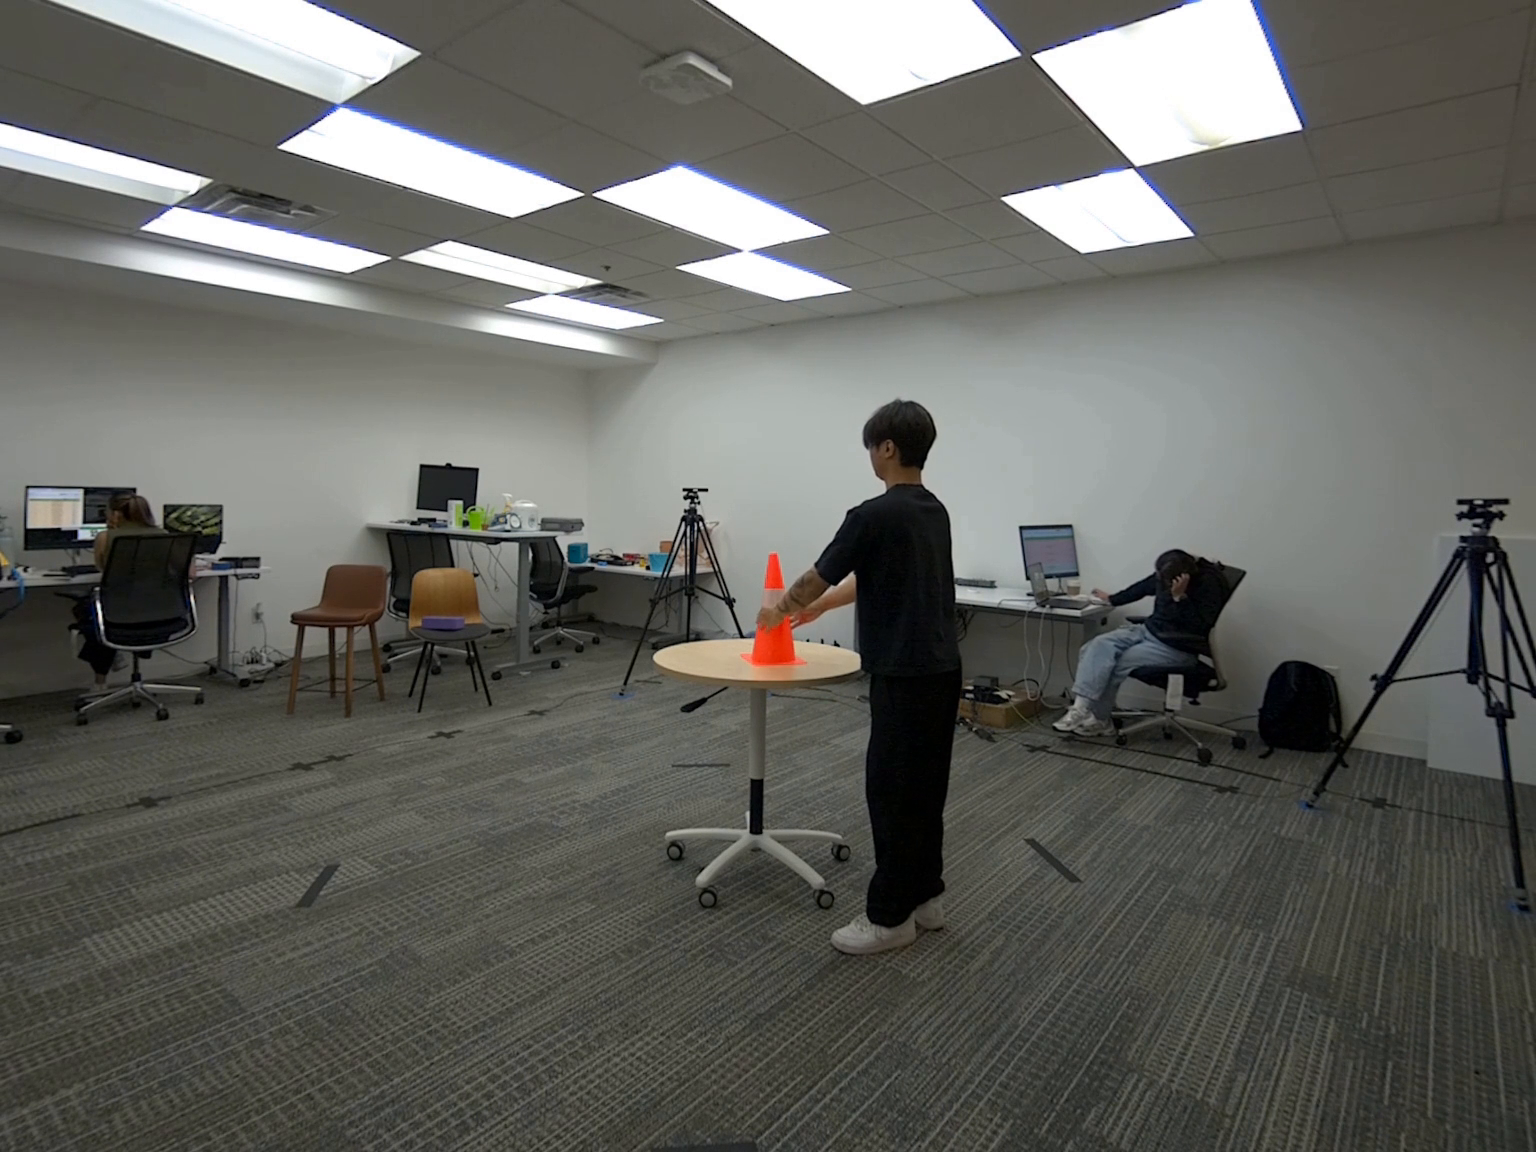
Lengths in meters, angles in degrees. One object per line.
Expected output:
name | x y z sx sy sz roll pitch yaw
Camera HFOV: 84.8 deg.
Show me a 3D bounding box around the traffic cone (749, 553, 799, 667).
traffic cone | 0.012 0.109 3.029 0.202 0.382 0.207 -1 3 -15
